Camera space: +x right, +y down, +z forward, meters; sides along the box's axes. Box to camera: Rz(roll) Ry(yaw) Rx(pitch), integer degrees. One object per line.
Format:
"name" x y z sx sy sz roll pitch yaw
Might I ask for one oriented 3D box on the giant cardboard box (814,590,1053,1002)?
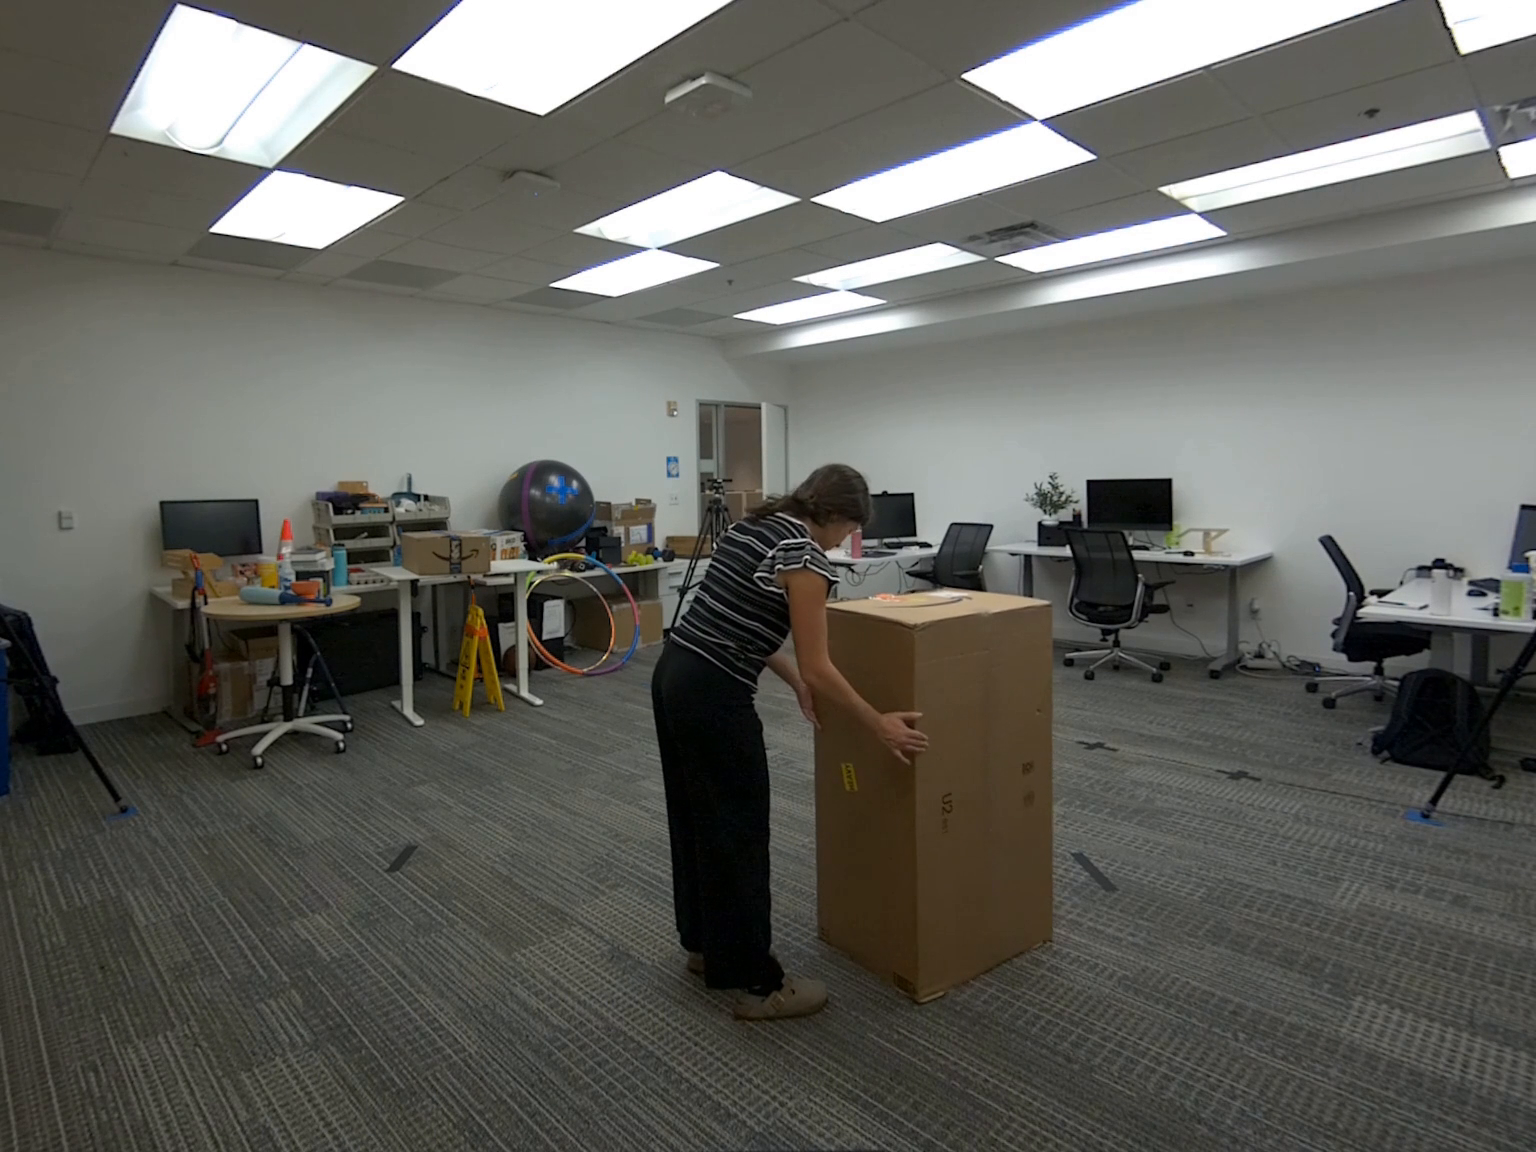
"giant cardboard box" 0.496 0.591 2.560 0.563 1.022 0.439 -4 5 -35
